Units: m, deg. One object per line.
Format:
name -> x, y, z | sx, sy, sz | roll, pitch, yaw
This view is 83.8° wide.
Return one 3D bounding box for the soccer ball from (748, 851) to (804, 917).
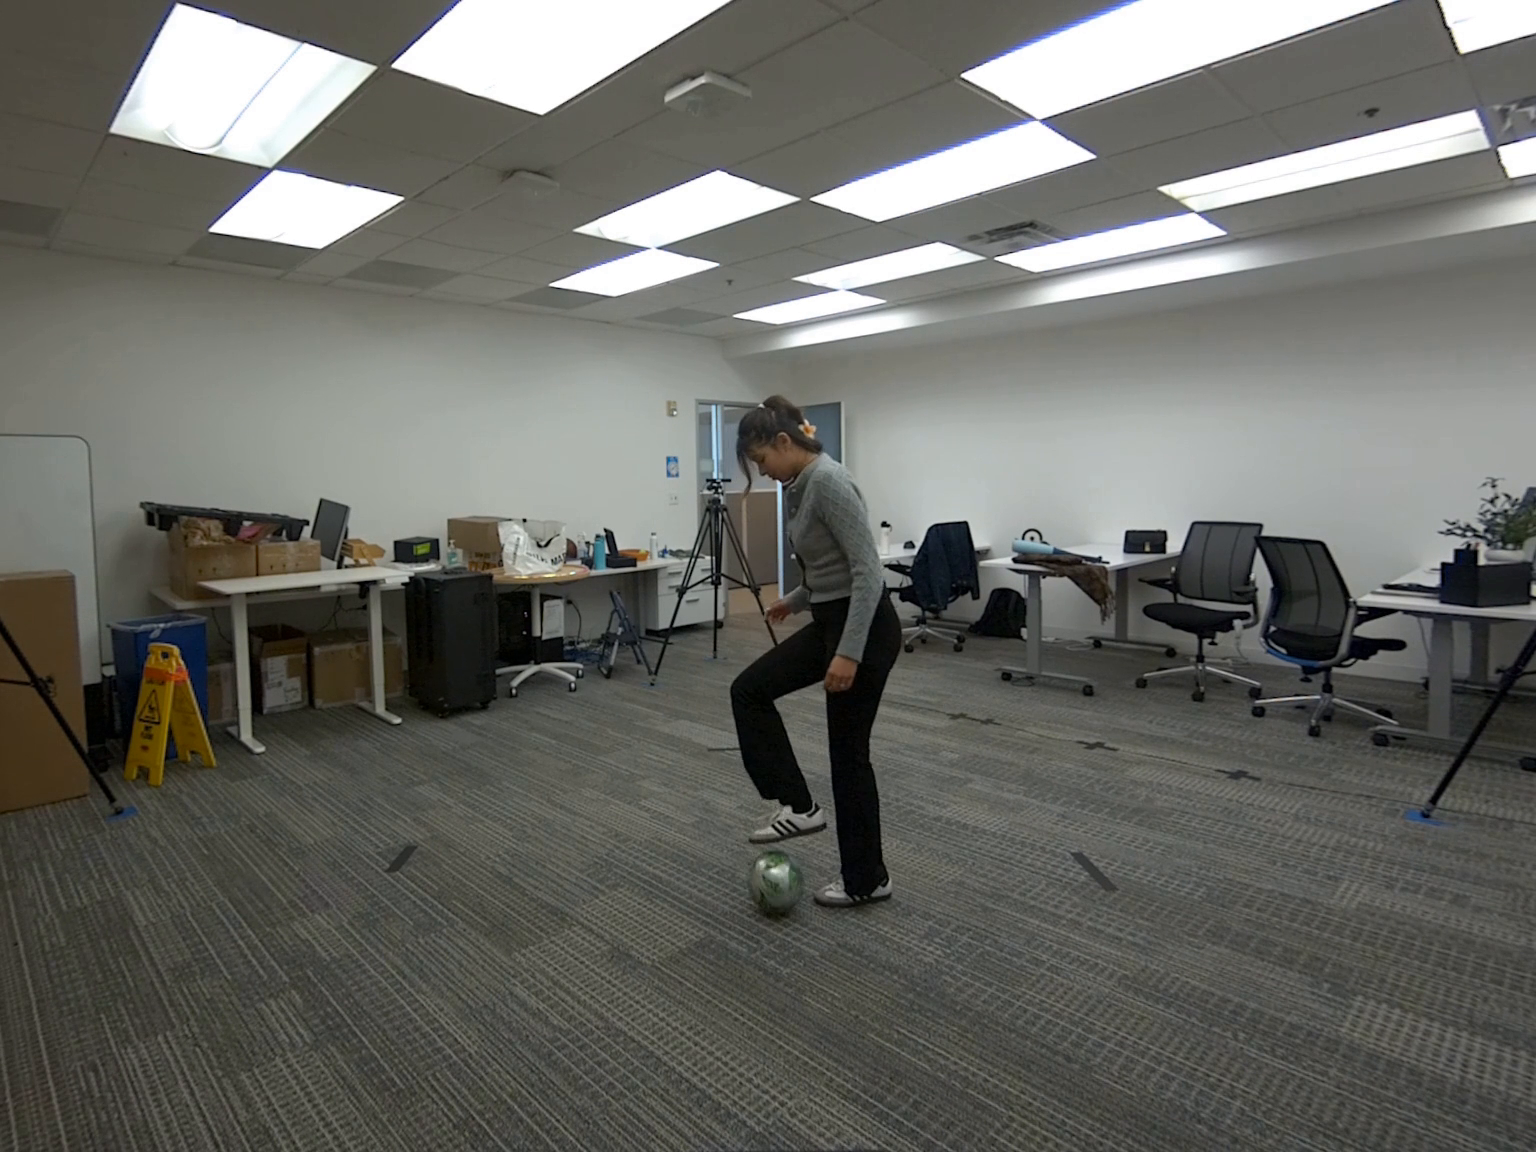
soccer ball -> 0.026, 0.987, 2.770 | 0.187, 0.187, 0.188 | -1, 5, -2
